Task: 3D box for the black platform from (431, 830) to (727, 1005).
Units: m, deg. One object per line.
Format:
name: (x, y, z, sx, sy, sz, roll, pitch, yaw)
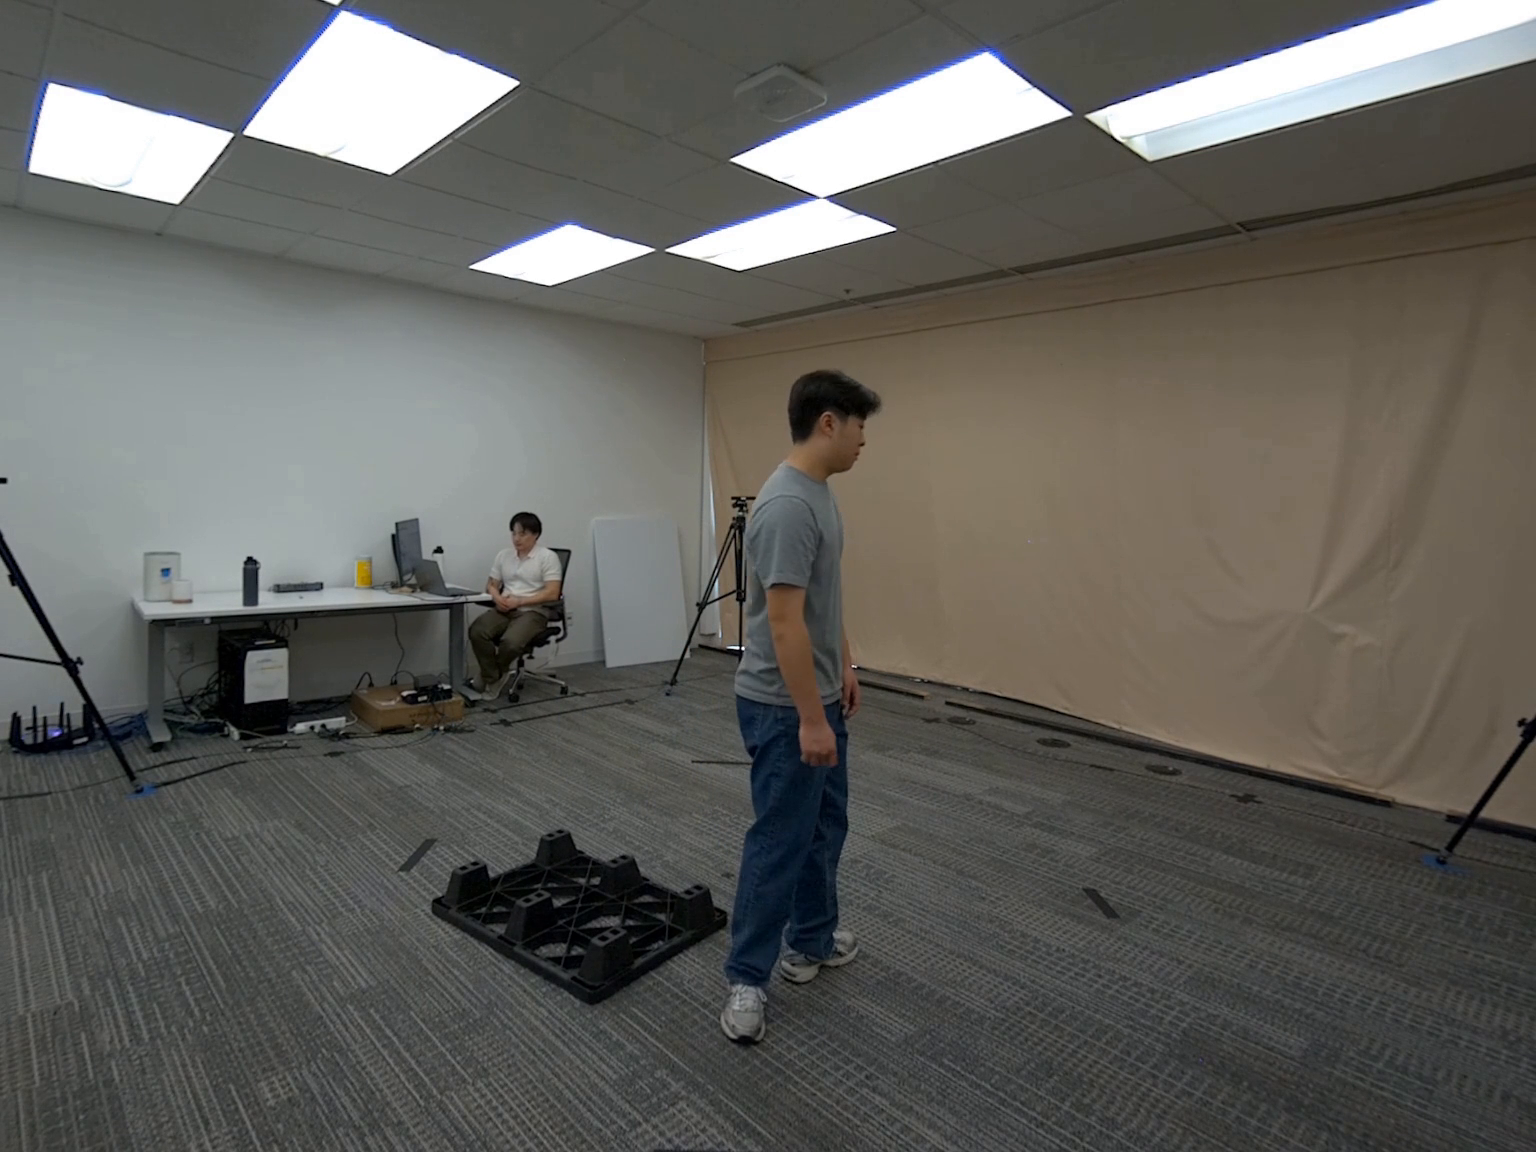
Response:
black platform: (-0.631, 1.060, 2.763, 0.825, 0.143, 0.592, 5, 6, 37)
